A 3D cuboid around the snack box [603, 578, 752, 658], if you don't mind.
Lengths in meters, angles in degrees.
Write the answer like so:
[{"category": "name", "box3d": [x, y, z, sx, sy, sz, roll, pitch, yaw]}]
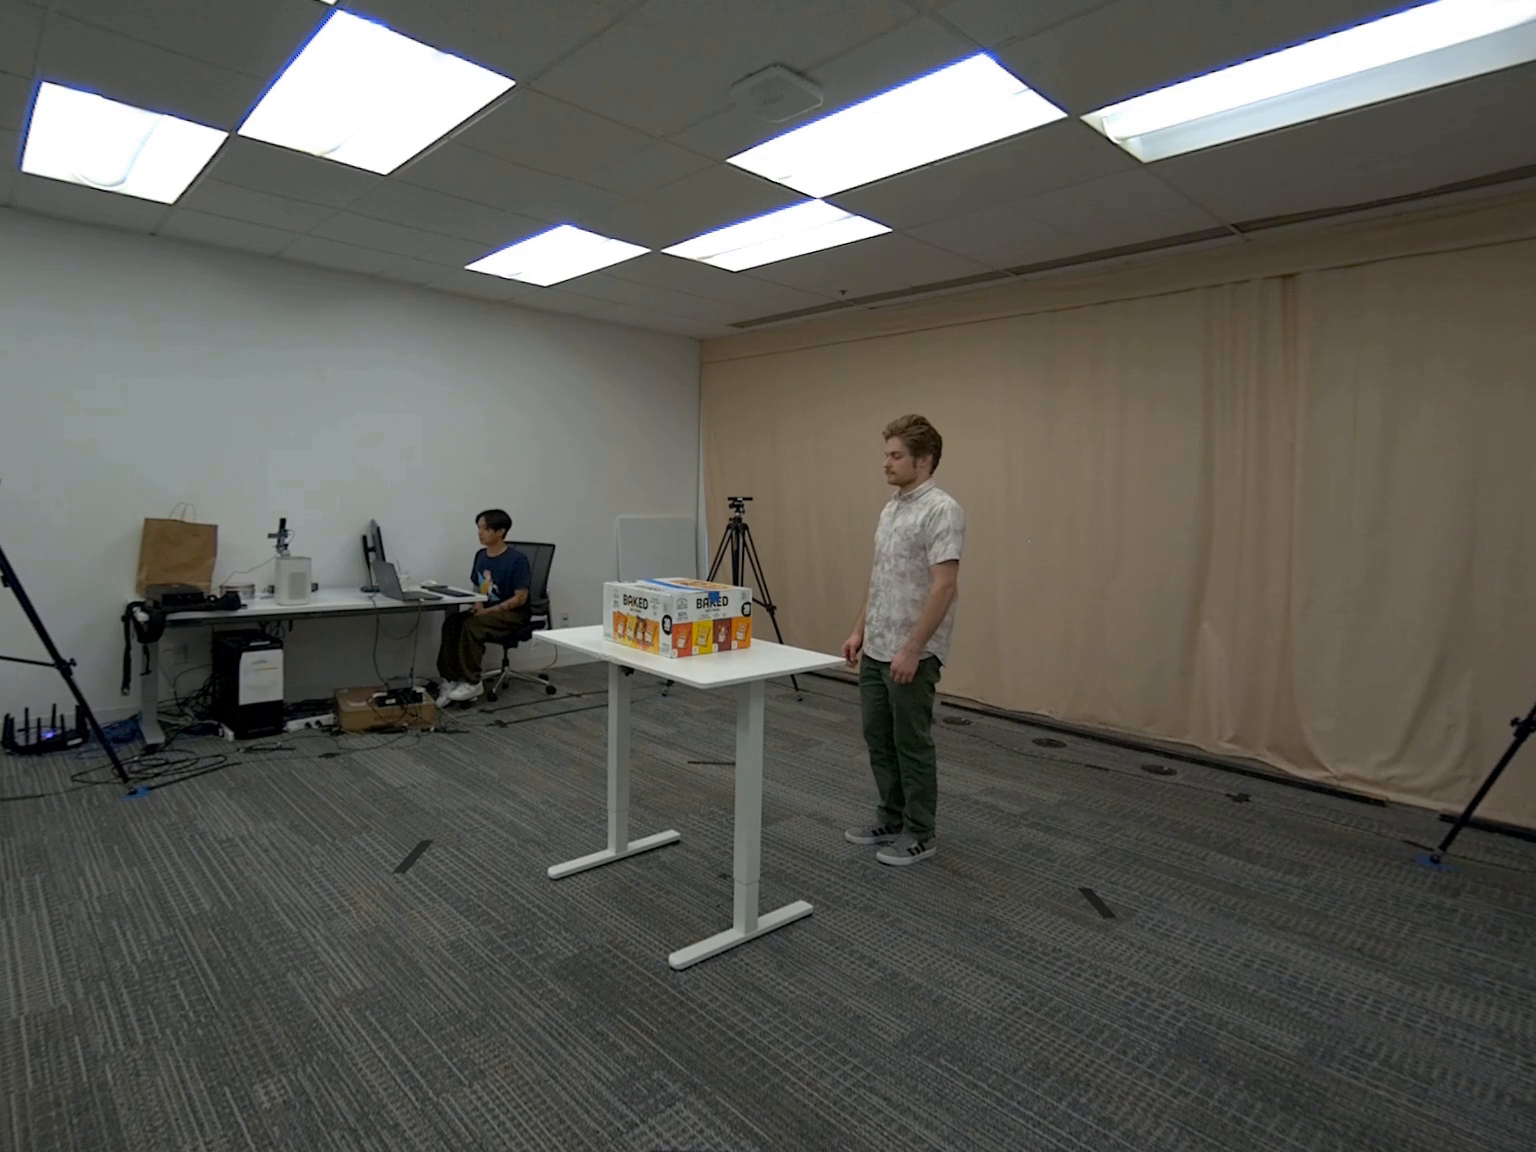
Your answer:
[{"category": "snack box", "box3d": [-0.323, 0.135, 2.913, 0.333, 0.205, 0.416, -3, 7, -42]}]
